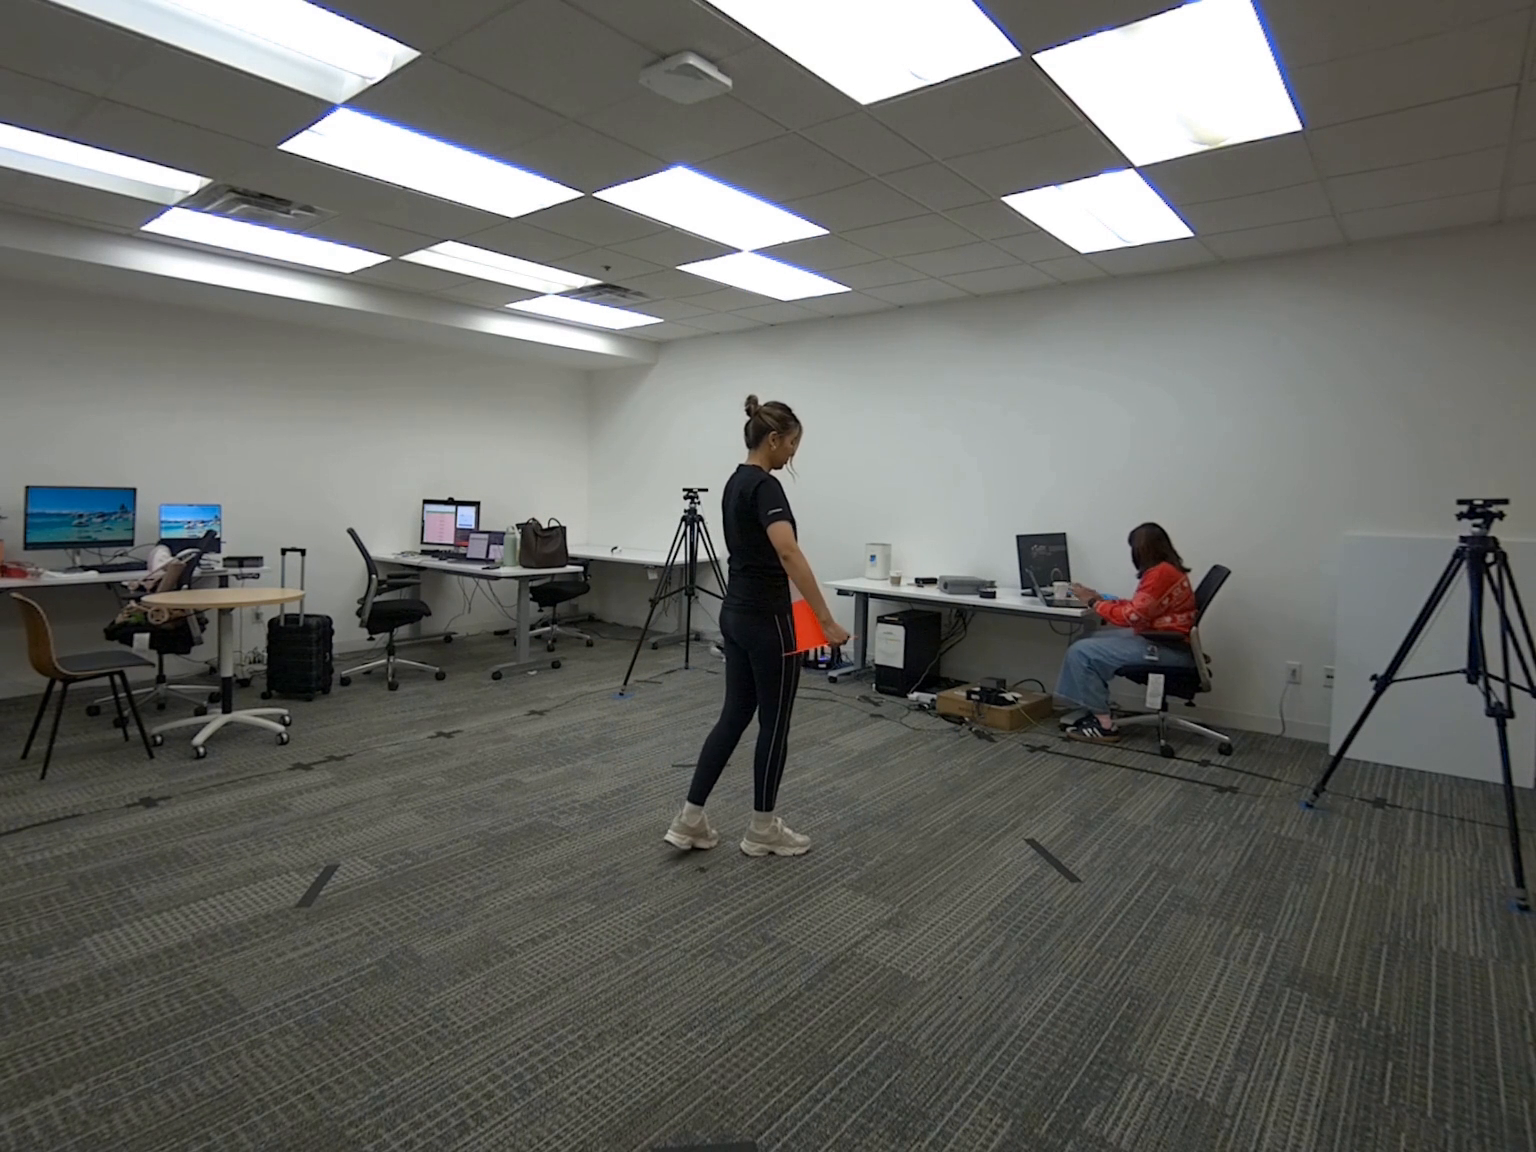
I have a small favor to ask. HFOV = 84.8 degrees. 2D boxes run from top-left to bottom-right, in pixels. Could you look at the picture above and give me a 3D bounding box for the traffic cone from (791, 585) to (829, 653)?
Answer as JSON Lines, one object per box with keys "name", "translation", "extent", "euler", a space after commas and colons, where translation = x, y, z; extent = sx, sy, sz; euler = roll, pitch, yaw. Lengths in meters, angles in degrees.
{"name": "traffic cone", "translation": [0.113, 0.056, 2.989], "extent": [0.198, 0.388, 0.208], "euler": [-6, -12, -40]}
